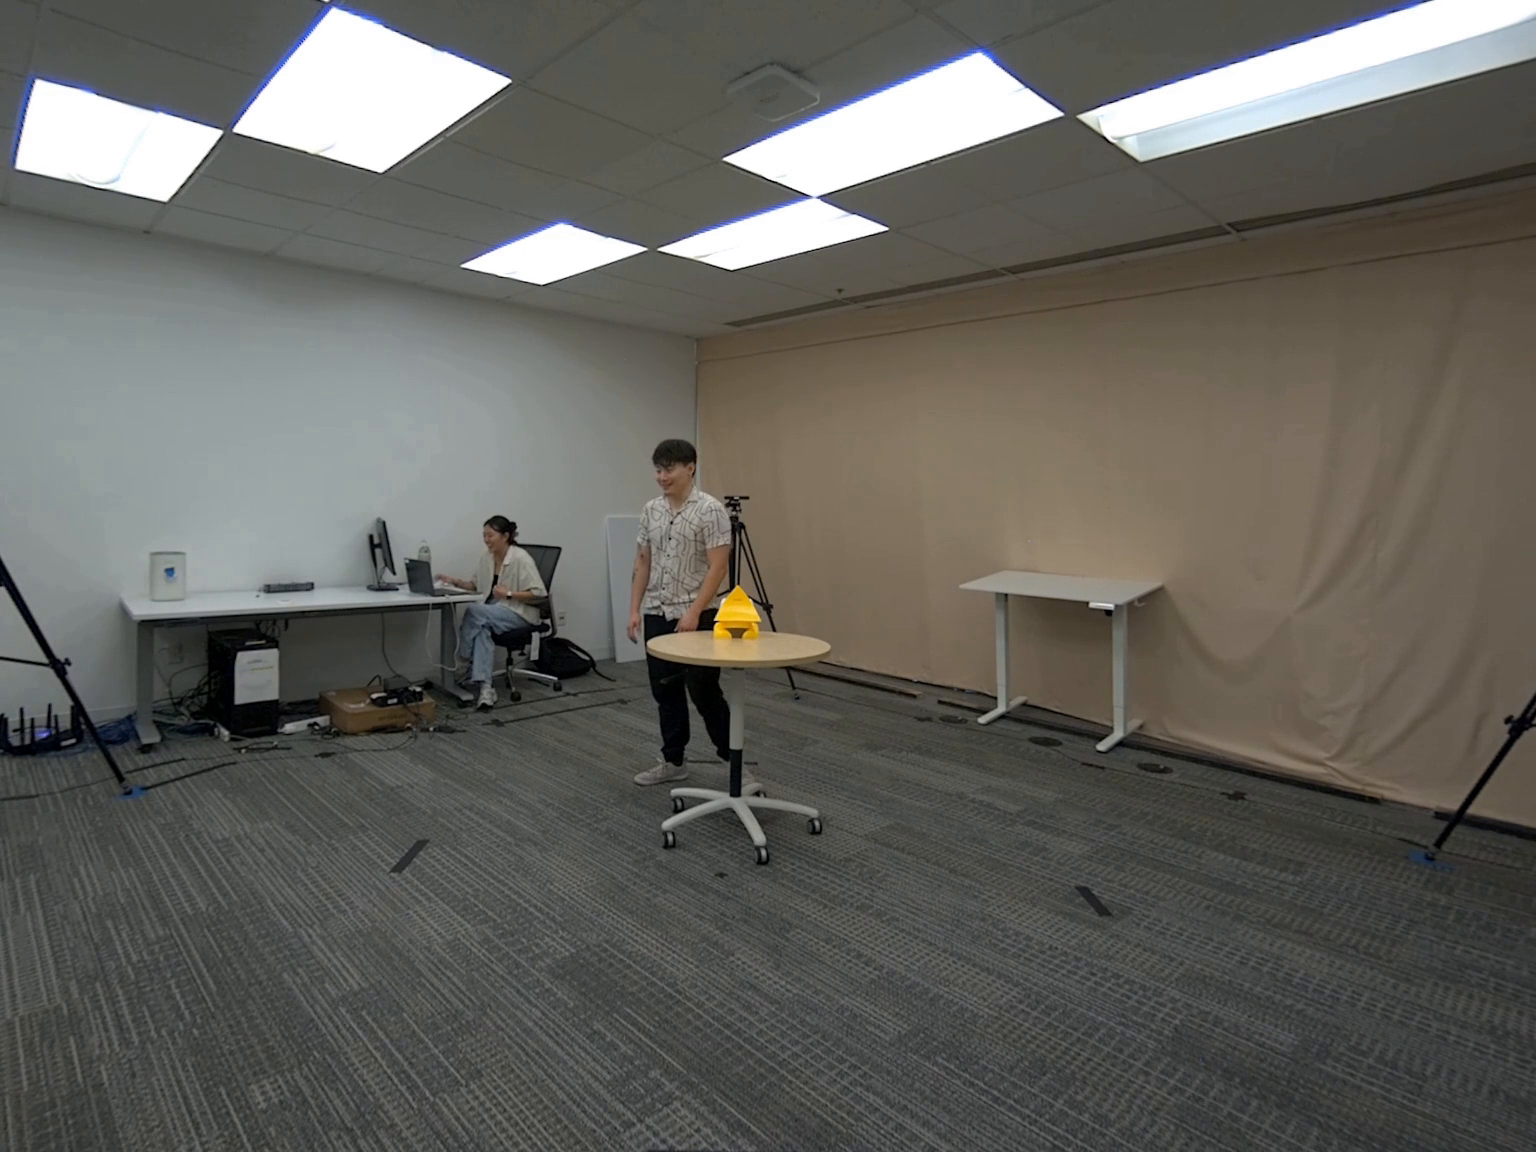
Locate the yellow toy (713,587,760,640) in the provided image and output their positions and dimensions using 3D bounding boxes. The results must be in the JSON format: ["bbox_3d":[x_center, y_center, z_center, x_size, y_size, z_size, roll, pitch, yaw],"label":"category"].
[{"bbox_3d":[-0.147,0.151,3.734,0.204,0.230,0.194,1,3,-3],"label":"yellow toy"}]
